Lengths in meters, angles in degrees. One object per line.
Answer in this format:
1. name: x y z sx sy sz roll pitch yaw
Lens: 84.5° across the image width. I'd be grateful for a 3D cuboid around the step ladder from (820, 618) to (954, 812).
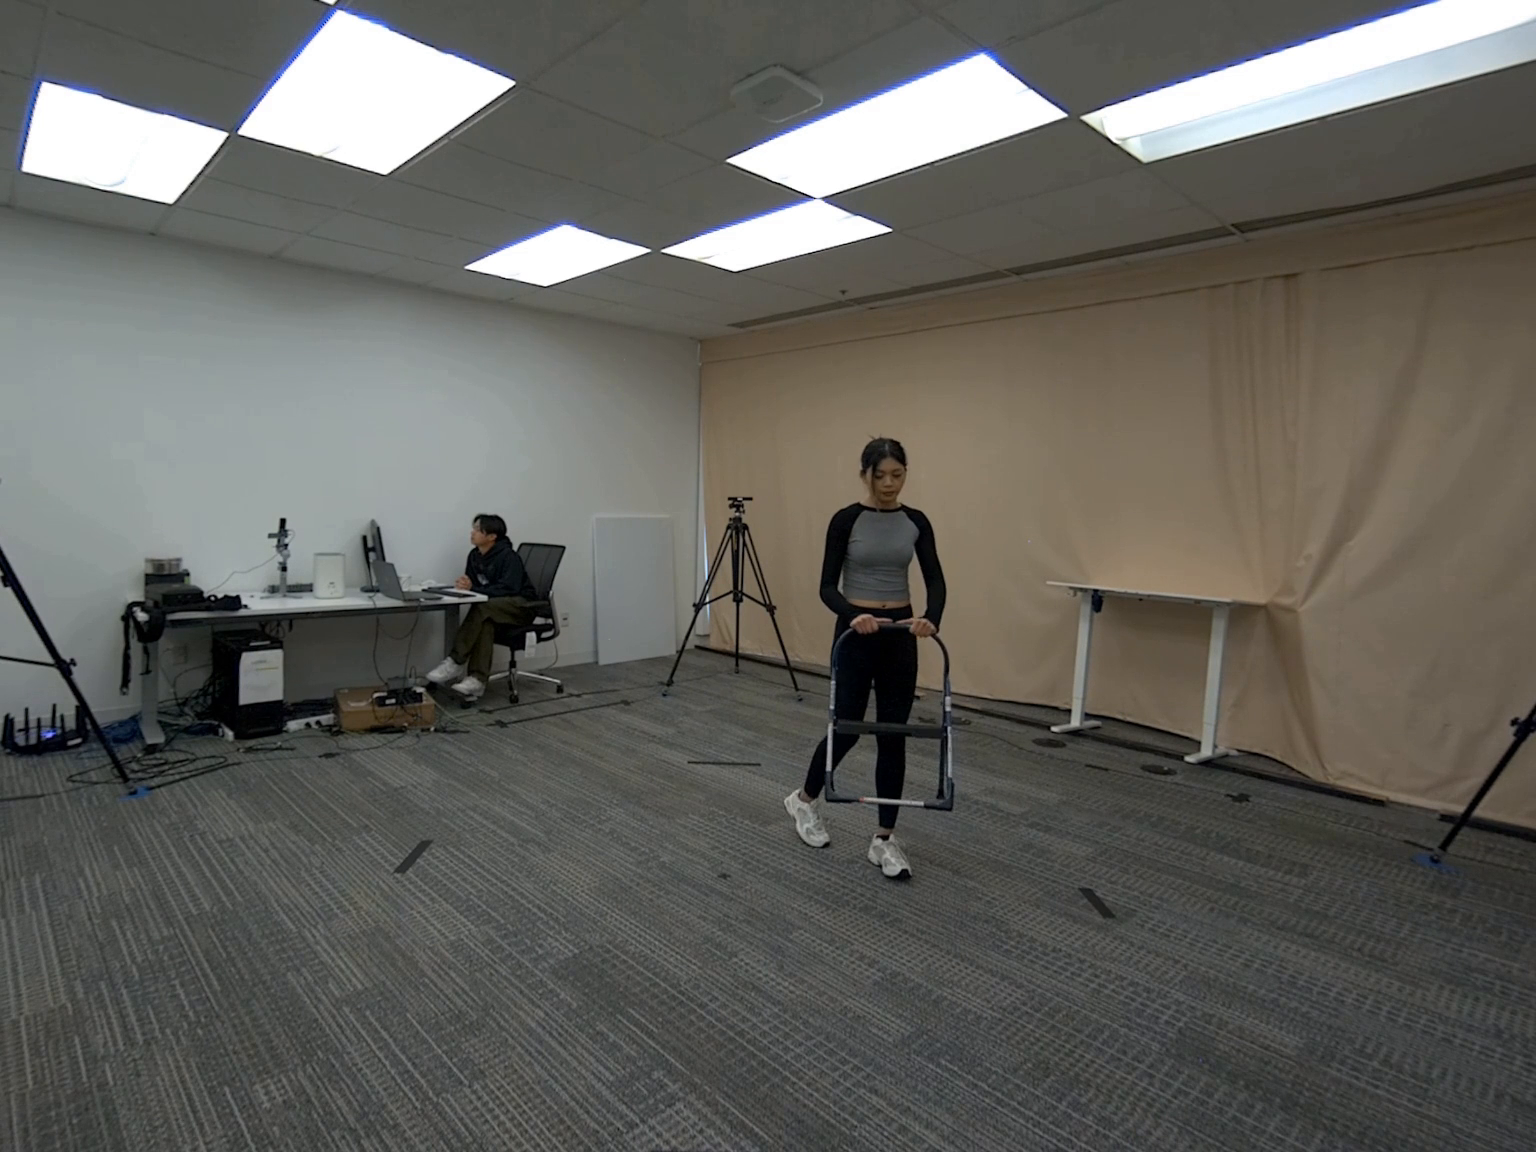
1. step ladder: 0.424 0.483 2.956 0.433 0.609 0.345 1 -8 7
